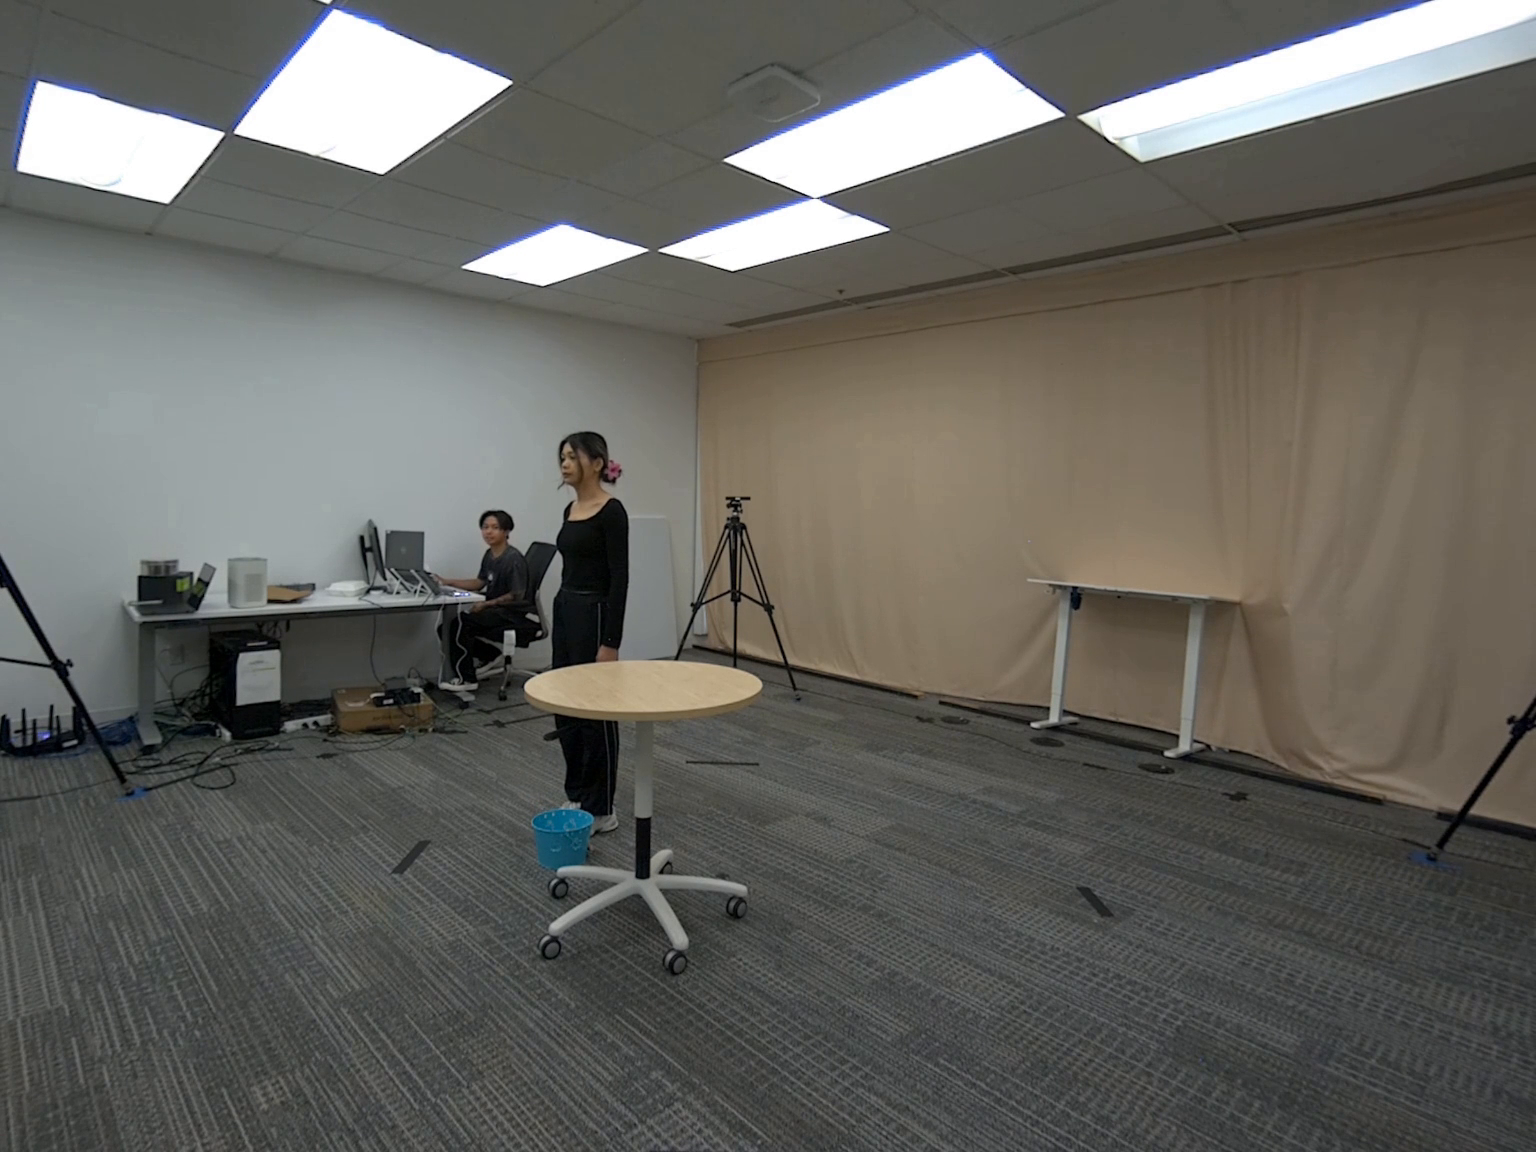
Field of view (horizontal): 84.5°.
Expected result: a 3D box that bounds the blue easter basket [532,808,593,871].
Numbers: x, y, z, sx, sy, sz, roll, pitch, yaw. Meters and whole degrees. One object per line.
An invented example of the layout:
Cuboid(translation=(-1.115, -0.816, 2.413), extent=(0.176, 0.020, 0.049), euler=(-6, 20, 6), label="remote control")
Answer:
Cuboid(translation=(-0.797, 1.010, 3.214), extent=(0.243, 0.155, 0.244), euler=(1, 5, -1), label="blue easter basket")
